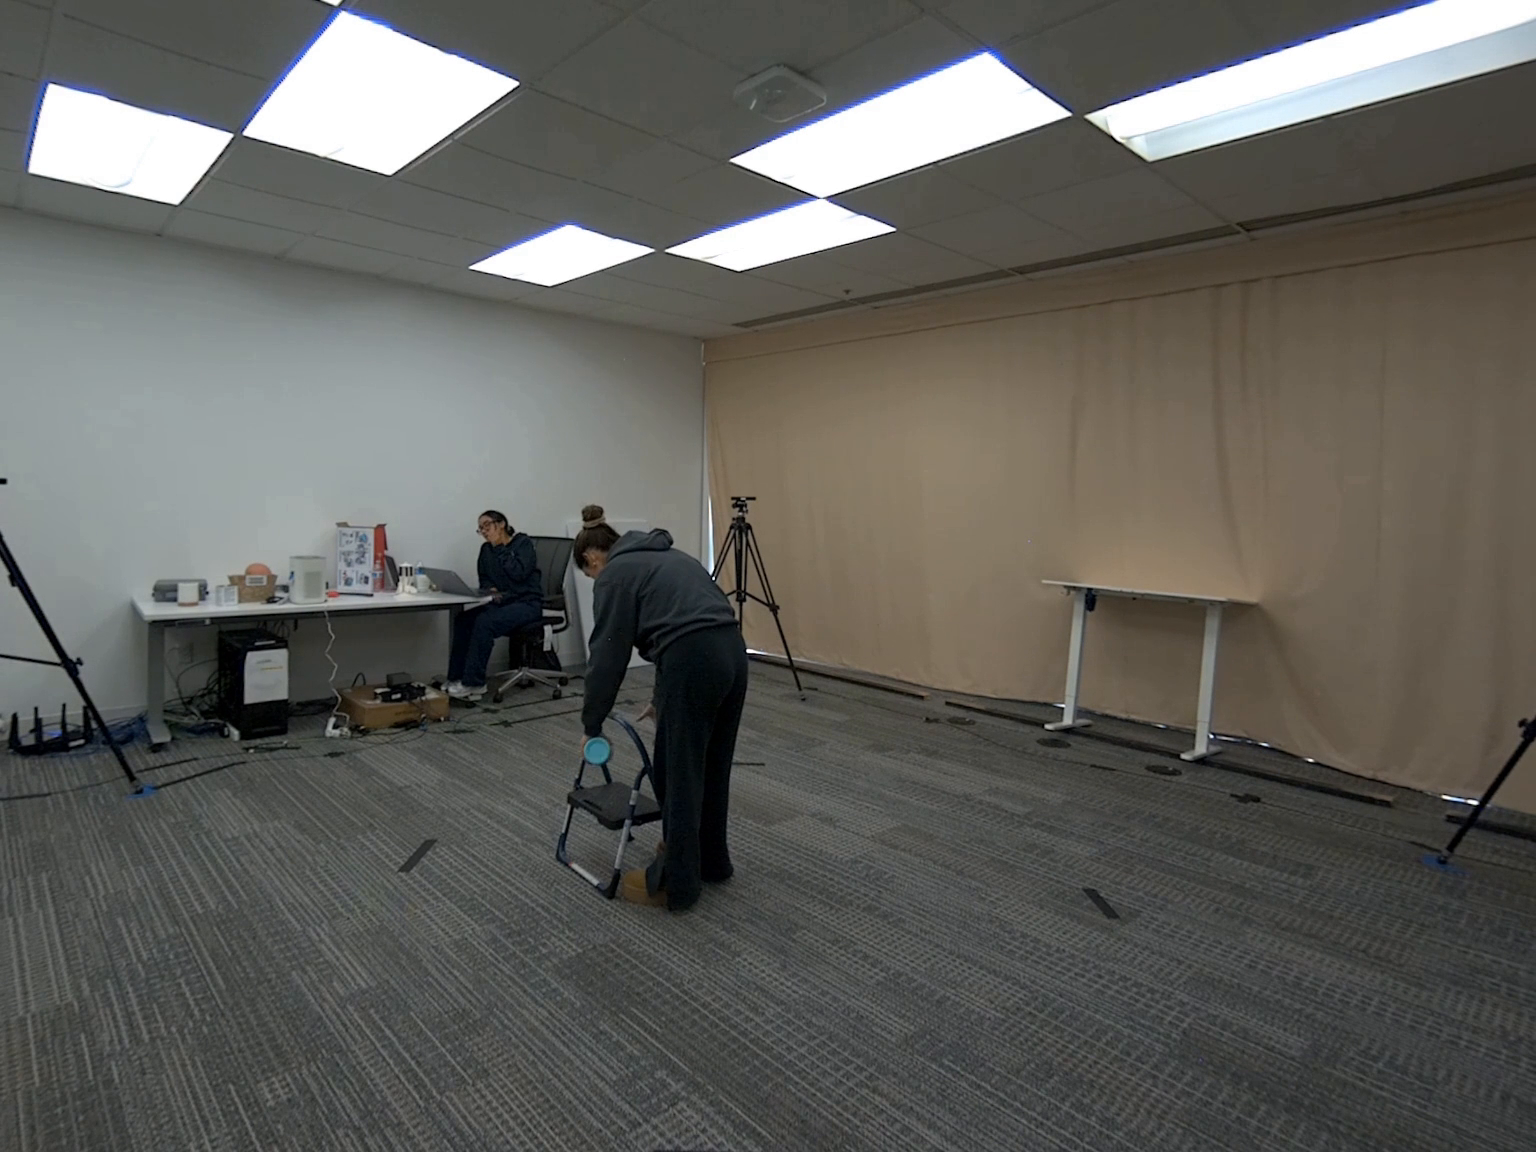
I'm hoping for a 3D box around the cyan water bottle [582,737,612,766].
[{"bbox_3d":[-0.601,0.616,2.992,0.092,0.093,0.282,1,-13,-8],"label":"cyan water bottle"}]
